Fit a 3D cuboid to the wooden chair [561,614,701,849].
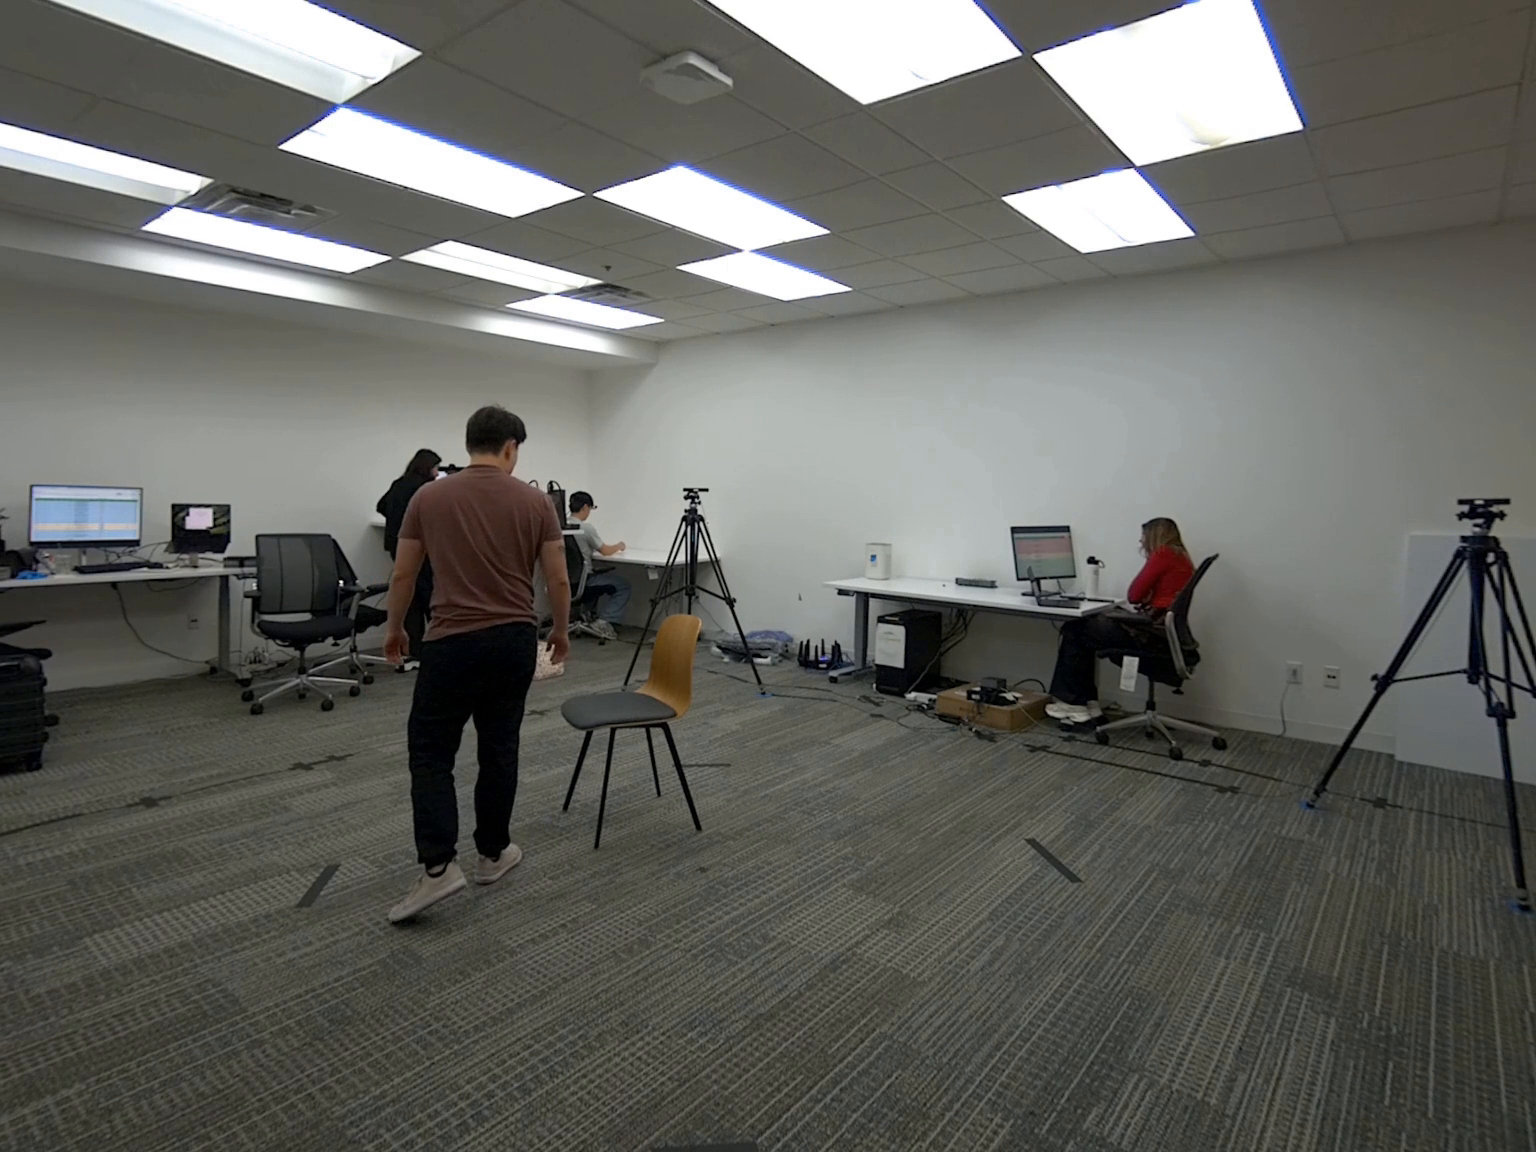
[{"bbox_3d":[-0.588,0.595,3.529,0.509,0.876,0.492,4,2,-28],"label":"wooden chair"}]
